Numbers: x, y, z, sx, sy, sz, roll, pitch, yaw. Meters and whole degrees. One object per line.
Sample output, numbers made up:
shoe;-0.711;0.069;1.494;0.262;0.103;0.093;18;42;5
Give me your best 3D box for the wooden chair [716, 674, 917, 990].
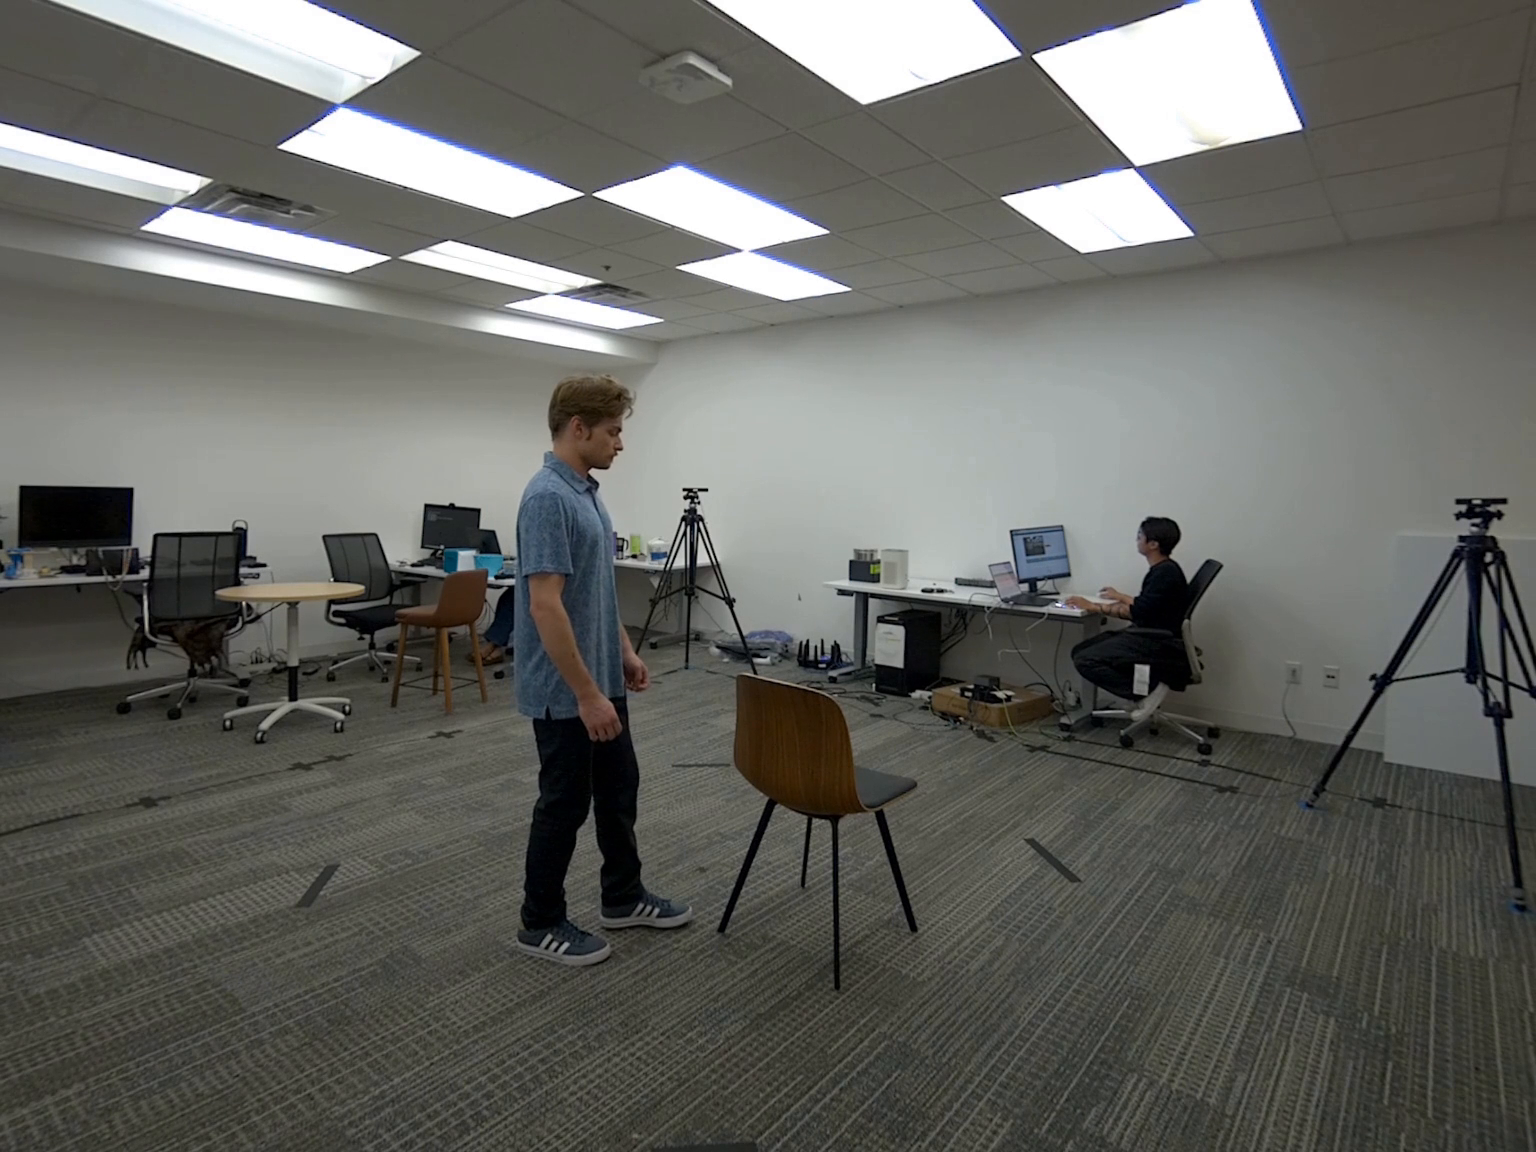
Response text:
wooden chair;0.168;0.696;2.663;0.494;0.872;0.509;4;9;39
